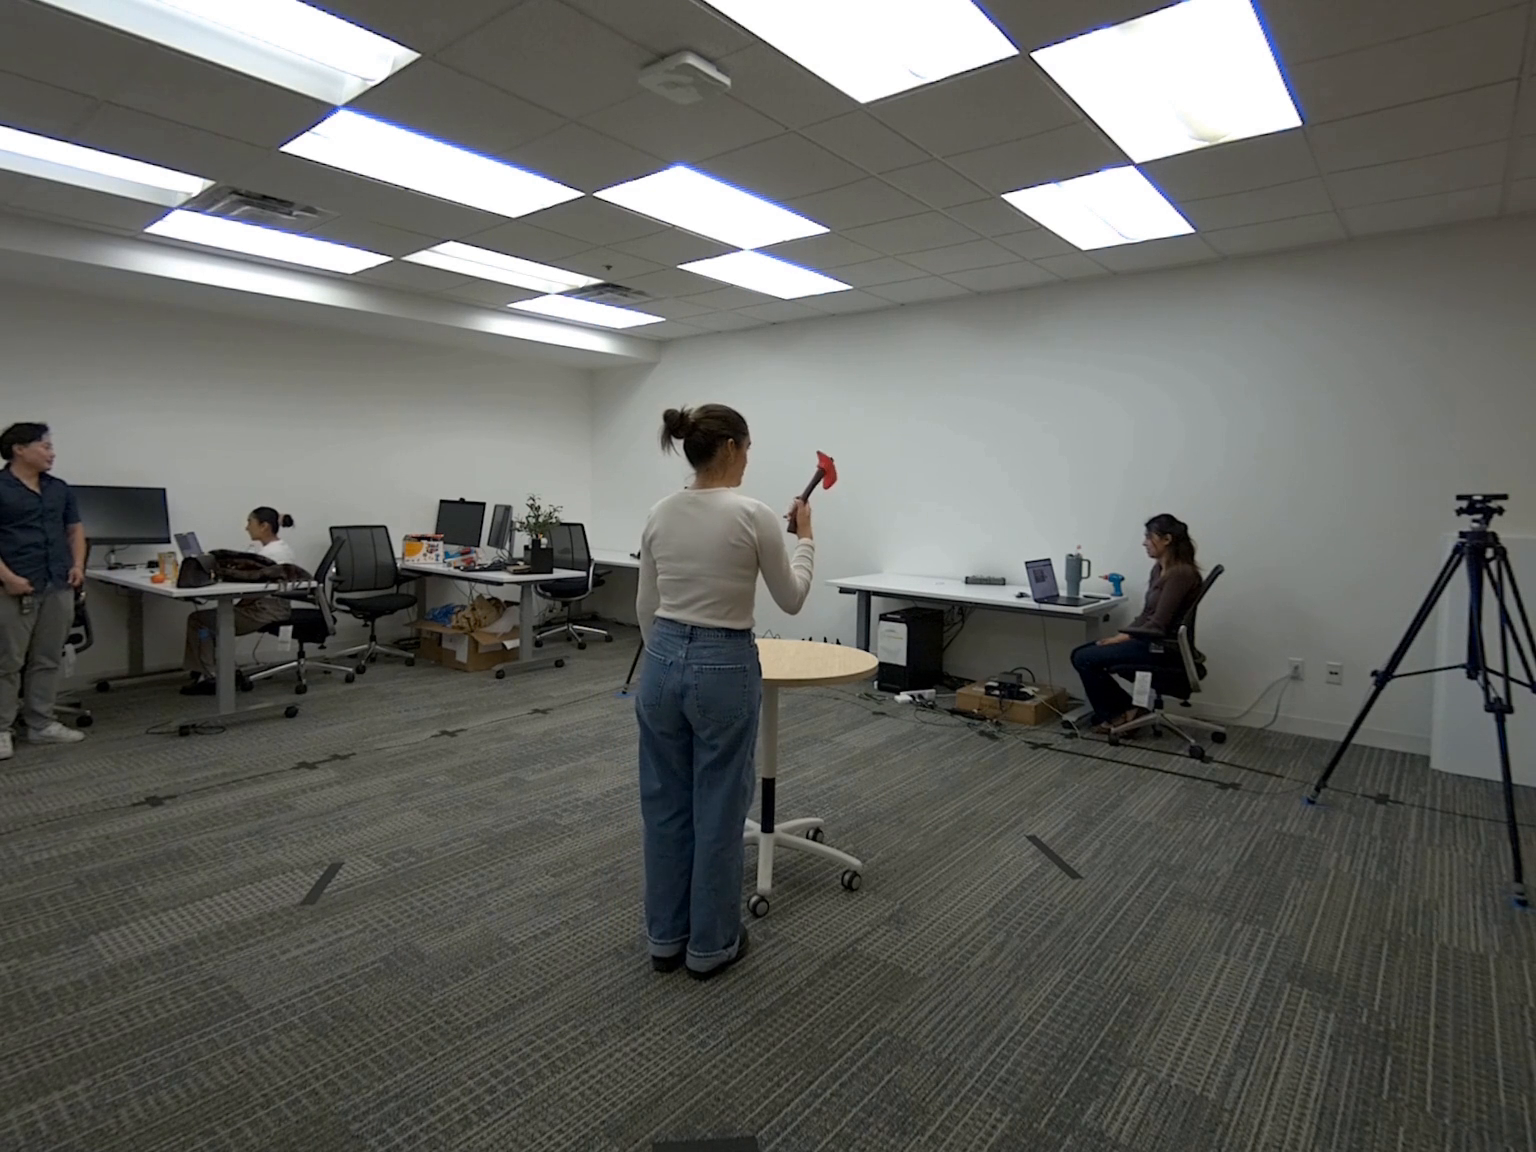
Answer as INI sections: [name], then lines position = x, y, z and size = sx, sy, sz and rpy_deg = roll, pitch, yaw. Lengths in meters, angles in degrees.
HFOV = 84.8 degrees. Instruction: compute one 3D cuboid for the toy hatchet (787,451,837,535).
[toy hatchet]
position = 0.128, -0.243, 2.570
size = 0.031, 0.271, 0.125
rpy_deg = 12, -12, 43
